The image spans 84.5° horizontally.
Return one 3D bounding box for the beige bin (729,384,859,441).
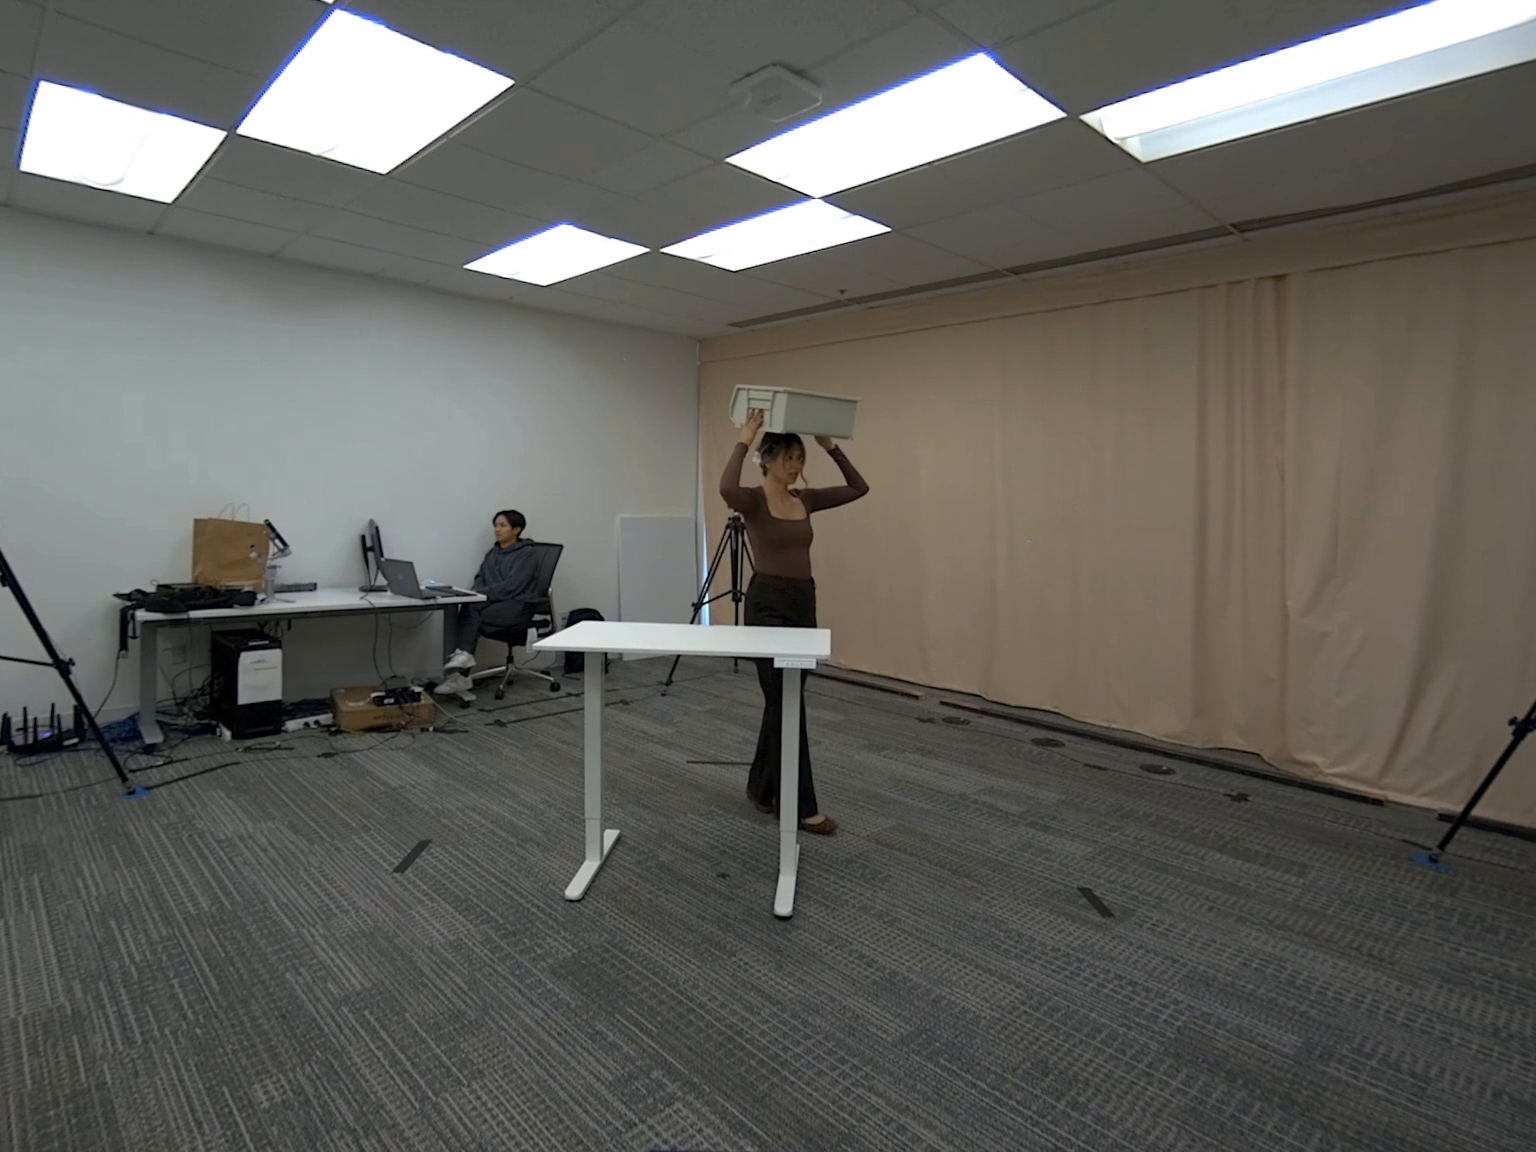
[{"bbox_3d":[0.103,-0.702,3.610,0.413,0.188,0.388,-1,13,-37],"label":"beige bin"}]
